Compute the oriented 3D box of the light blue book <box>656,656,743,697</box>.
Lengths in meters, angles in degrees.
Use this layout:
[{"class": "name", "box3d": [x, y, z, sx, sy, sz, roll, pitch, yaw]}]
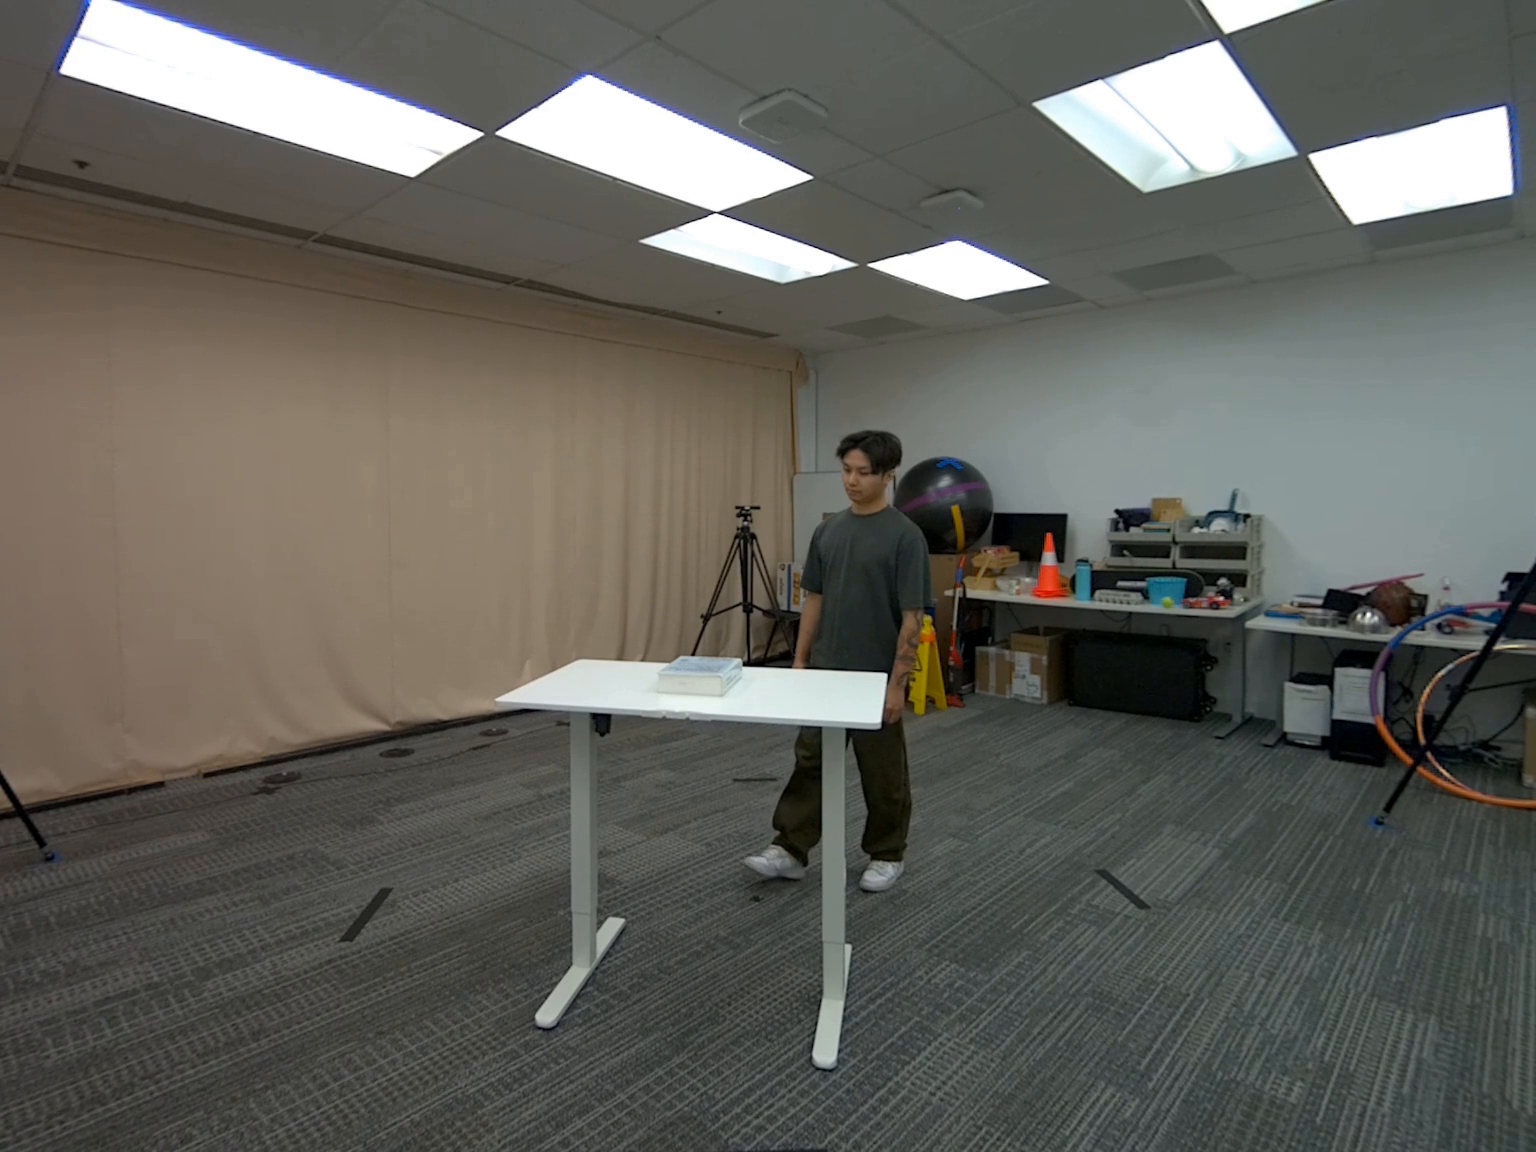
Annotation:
[{"class": "light blue book", "box3d": [-0.186, 0.285, 2.397, 0.193, 0.059, 0.259, 0, 5, 9]}]
